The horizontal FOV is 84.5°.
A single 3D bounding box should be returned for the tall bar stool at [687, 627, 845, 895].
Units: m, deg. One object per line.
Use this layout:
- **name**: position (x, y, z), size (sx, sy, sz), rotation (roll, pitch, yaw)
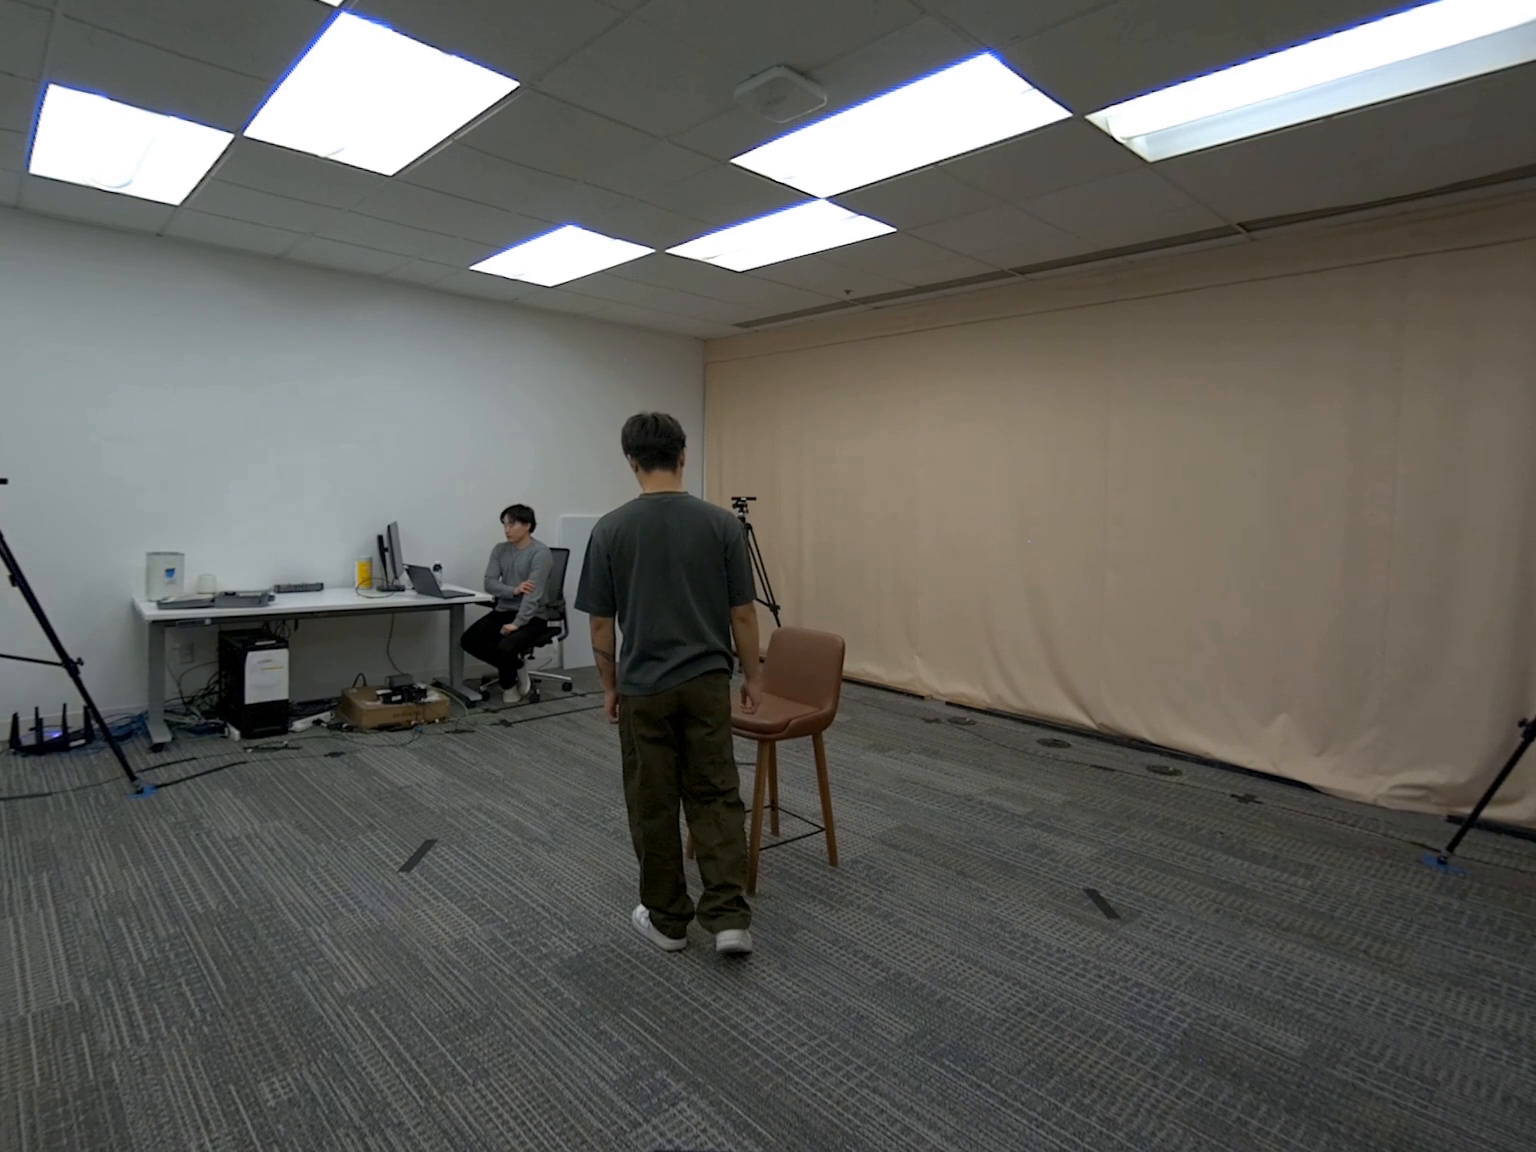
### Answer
- **tall bar stool**: position (-0.007, 0.663, 3.211), size (0.456, 0.889, 0.468), rotation (1, 2, -39)
